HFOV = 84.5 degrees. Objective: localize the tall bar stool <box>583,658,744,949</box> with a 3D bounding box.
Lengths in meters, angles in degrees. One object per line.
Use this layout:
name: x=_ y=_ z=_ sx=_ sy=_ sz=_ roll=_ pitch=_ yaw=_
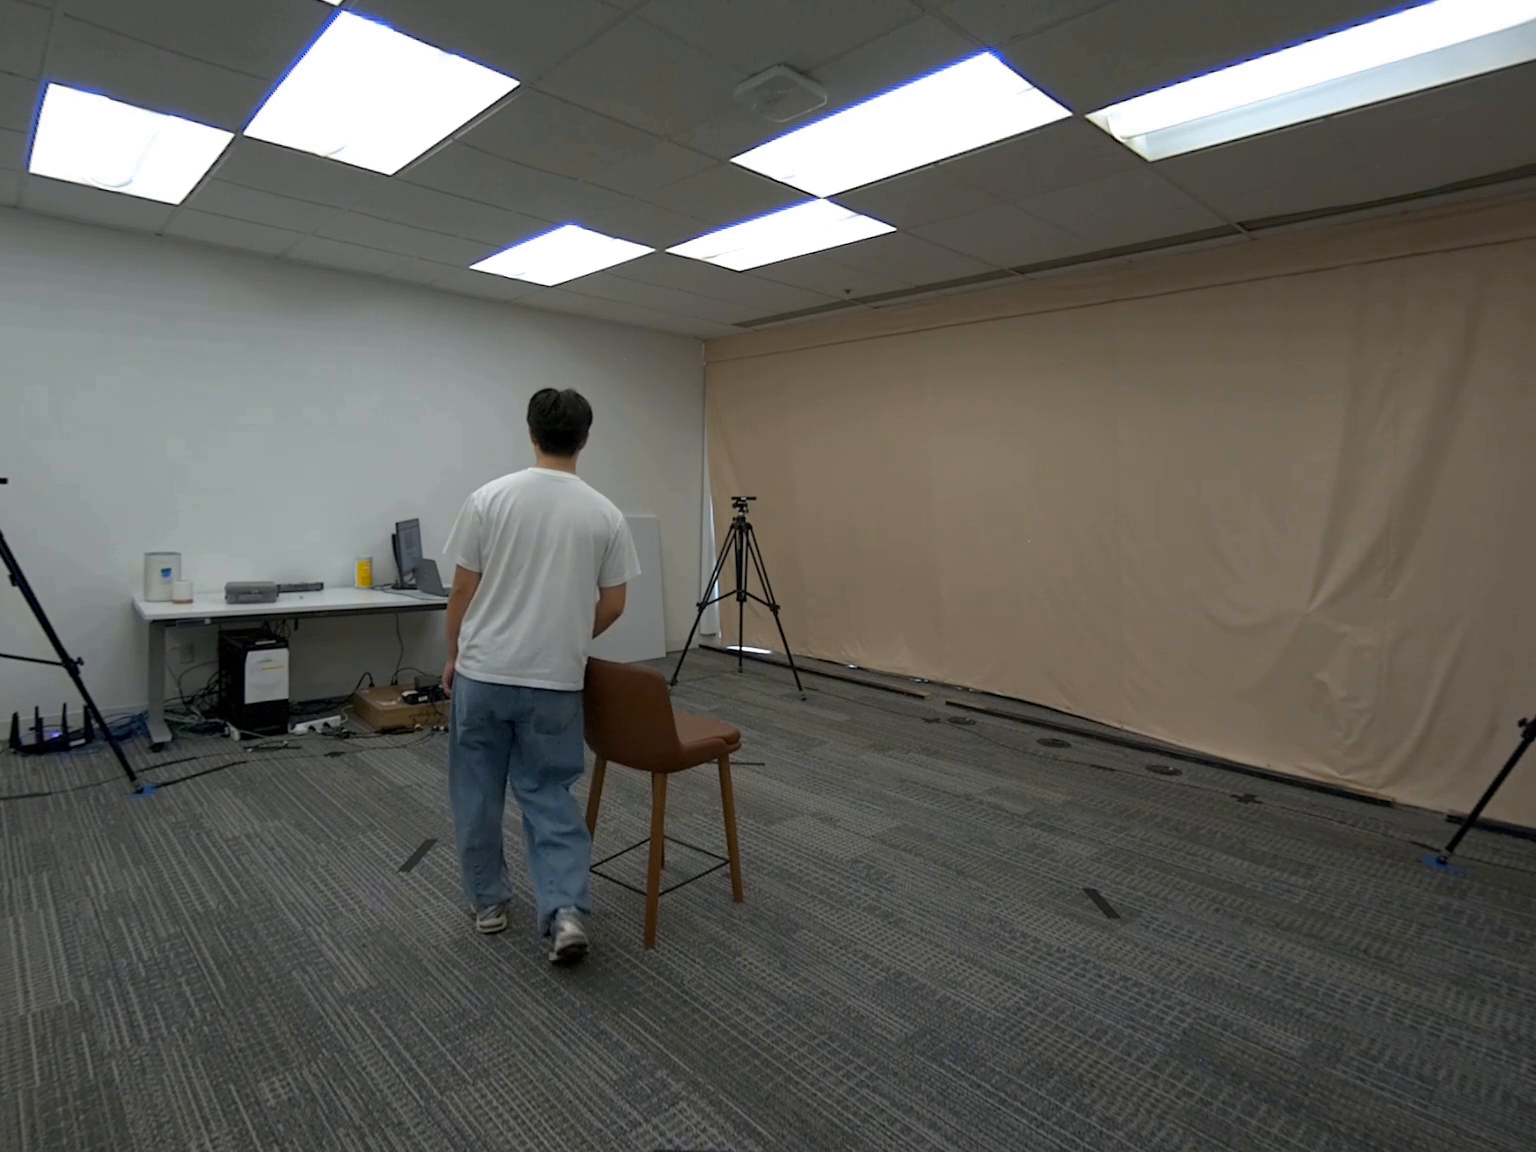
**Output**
tall bar stool: x=-0.379 y=0.690 z=2.844 sx=0.468 sy=0.886 sz=0.458 roll=4 pitch=7 yaw=39
